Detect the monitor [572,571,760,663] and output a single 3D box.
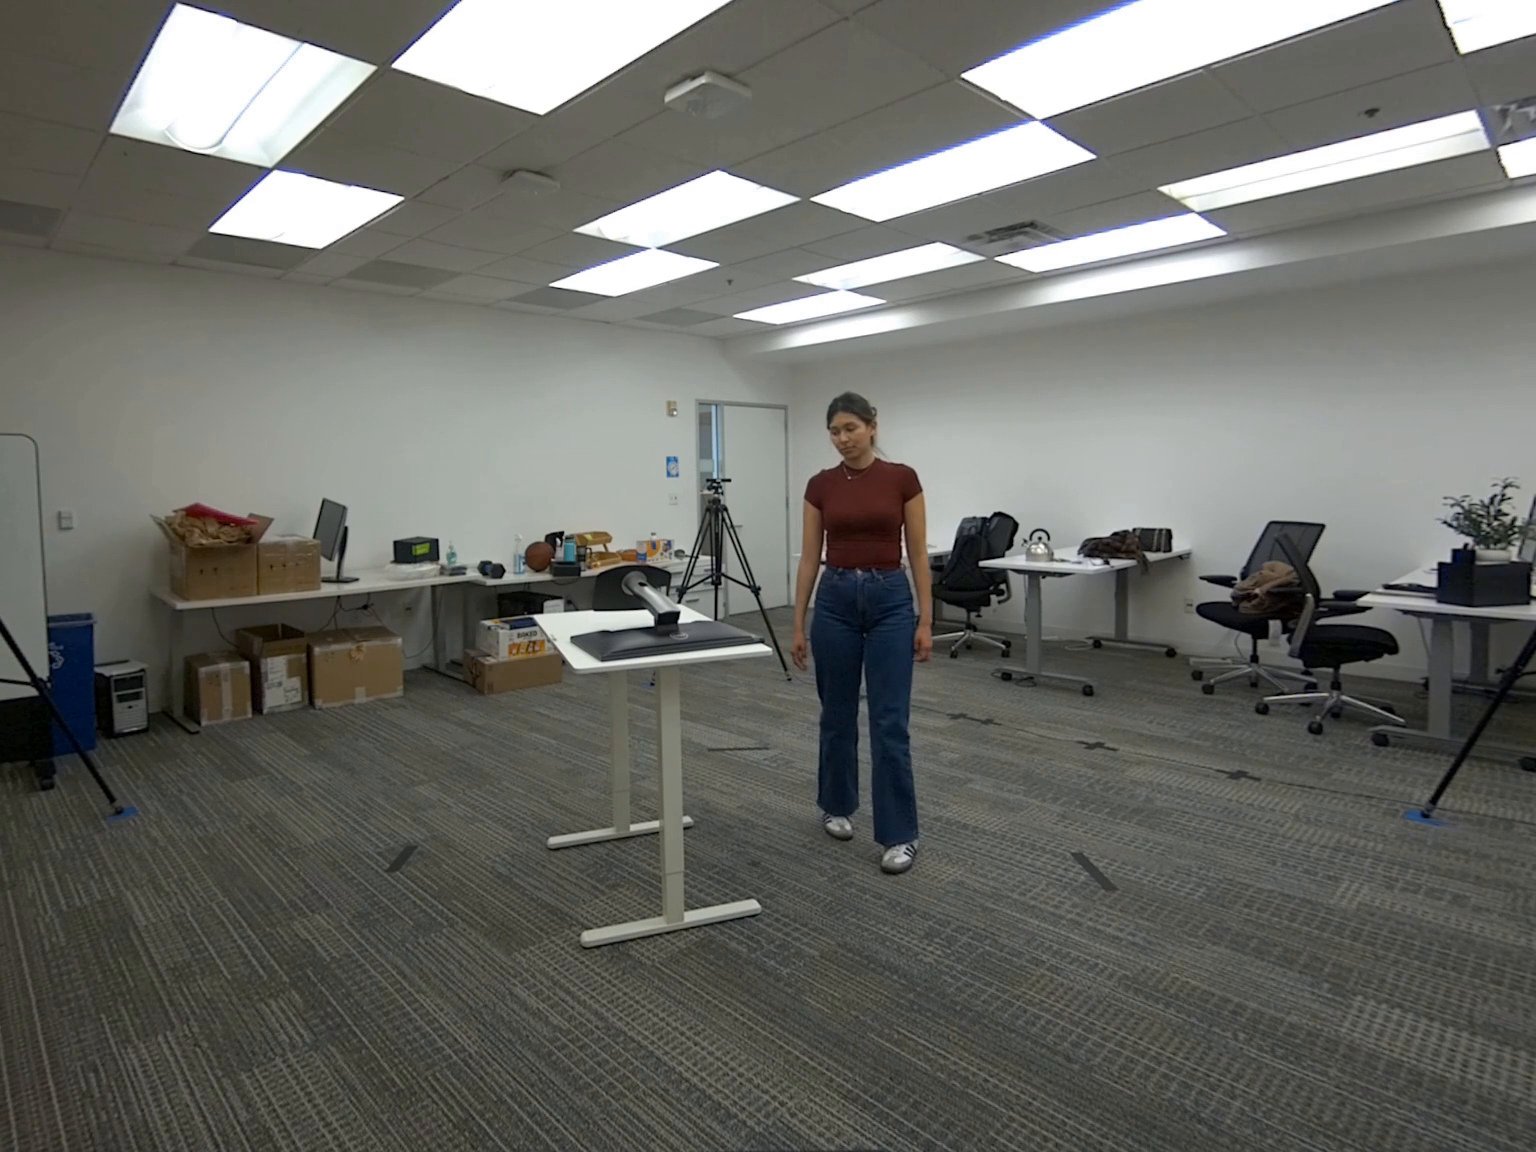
[{"bbox_3d":[-0.361,0.141,2.800,0.528,0.184,0.542,-5,24,-25],"label":"monitor"}]
